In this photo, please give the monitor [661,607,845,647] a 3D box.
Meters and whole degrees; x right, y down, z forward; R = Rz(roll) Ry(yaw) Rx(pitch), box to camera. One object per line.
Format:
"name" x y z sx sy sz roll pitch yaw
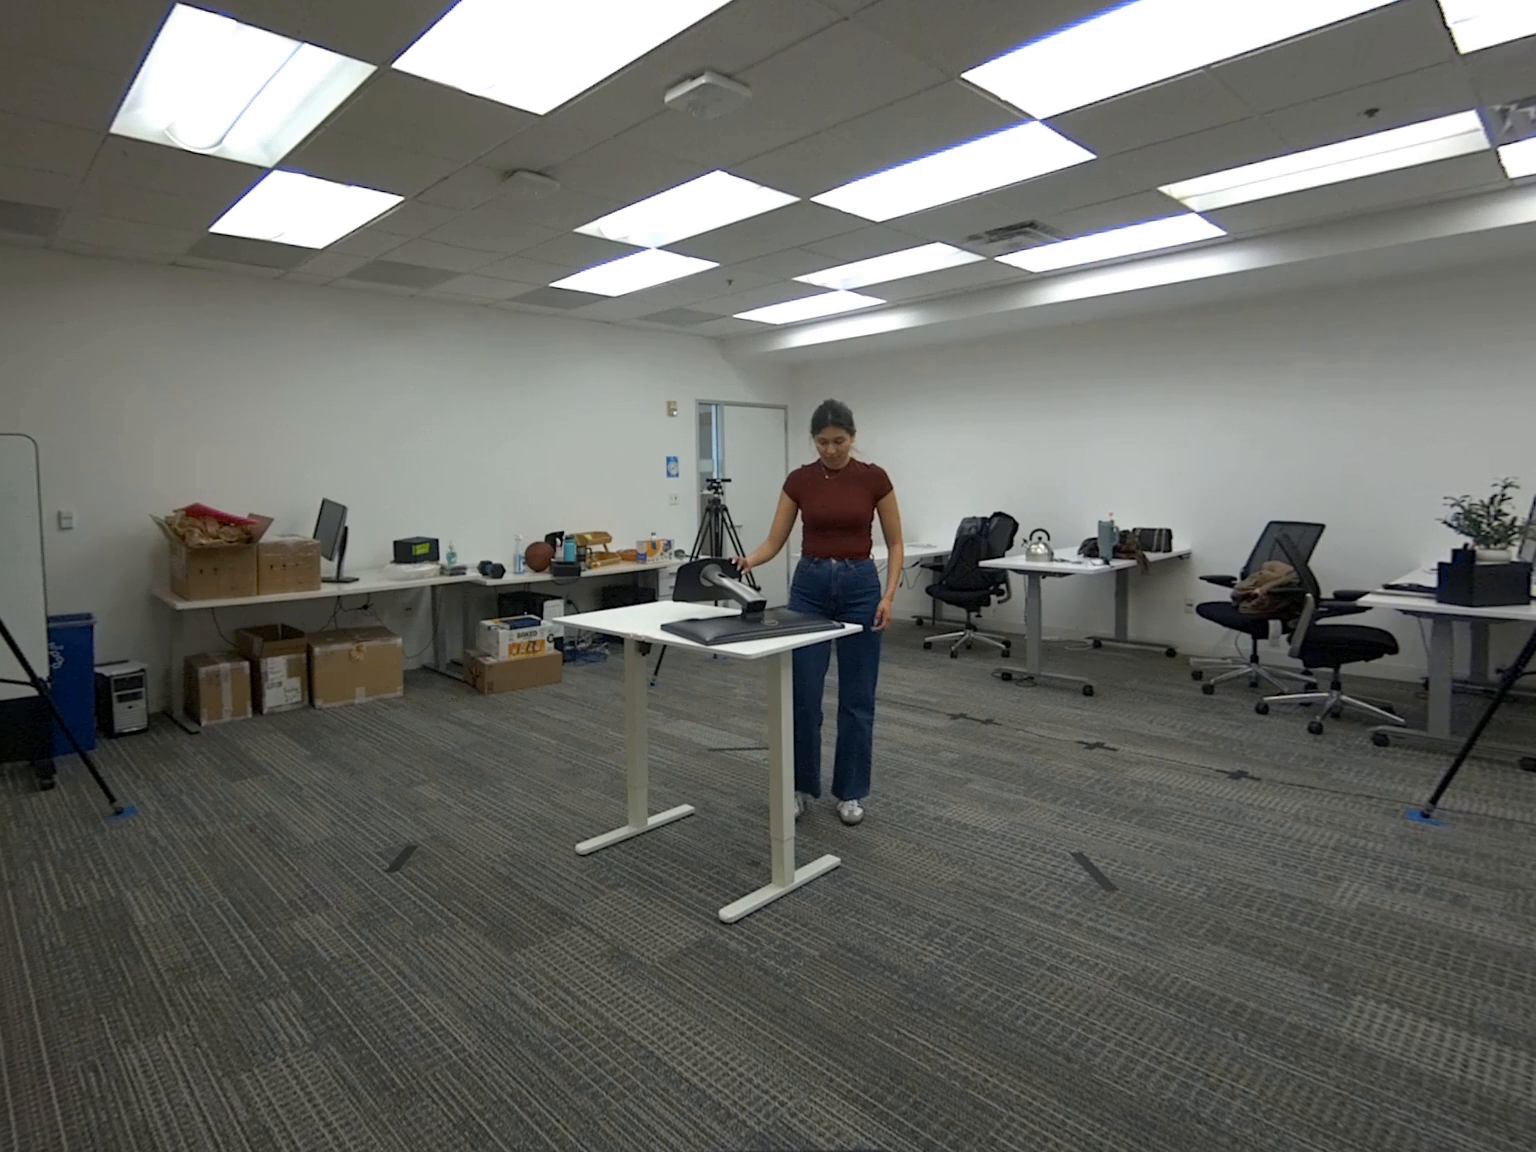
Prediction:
"monitor" -0.091 0.110 3.004 0.527 0.184 0.542 -6 24 -29
